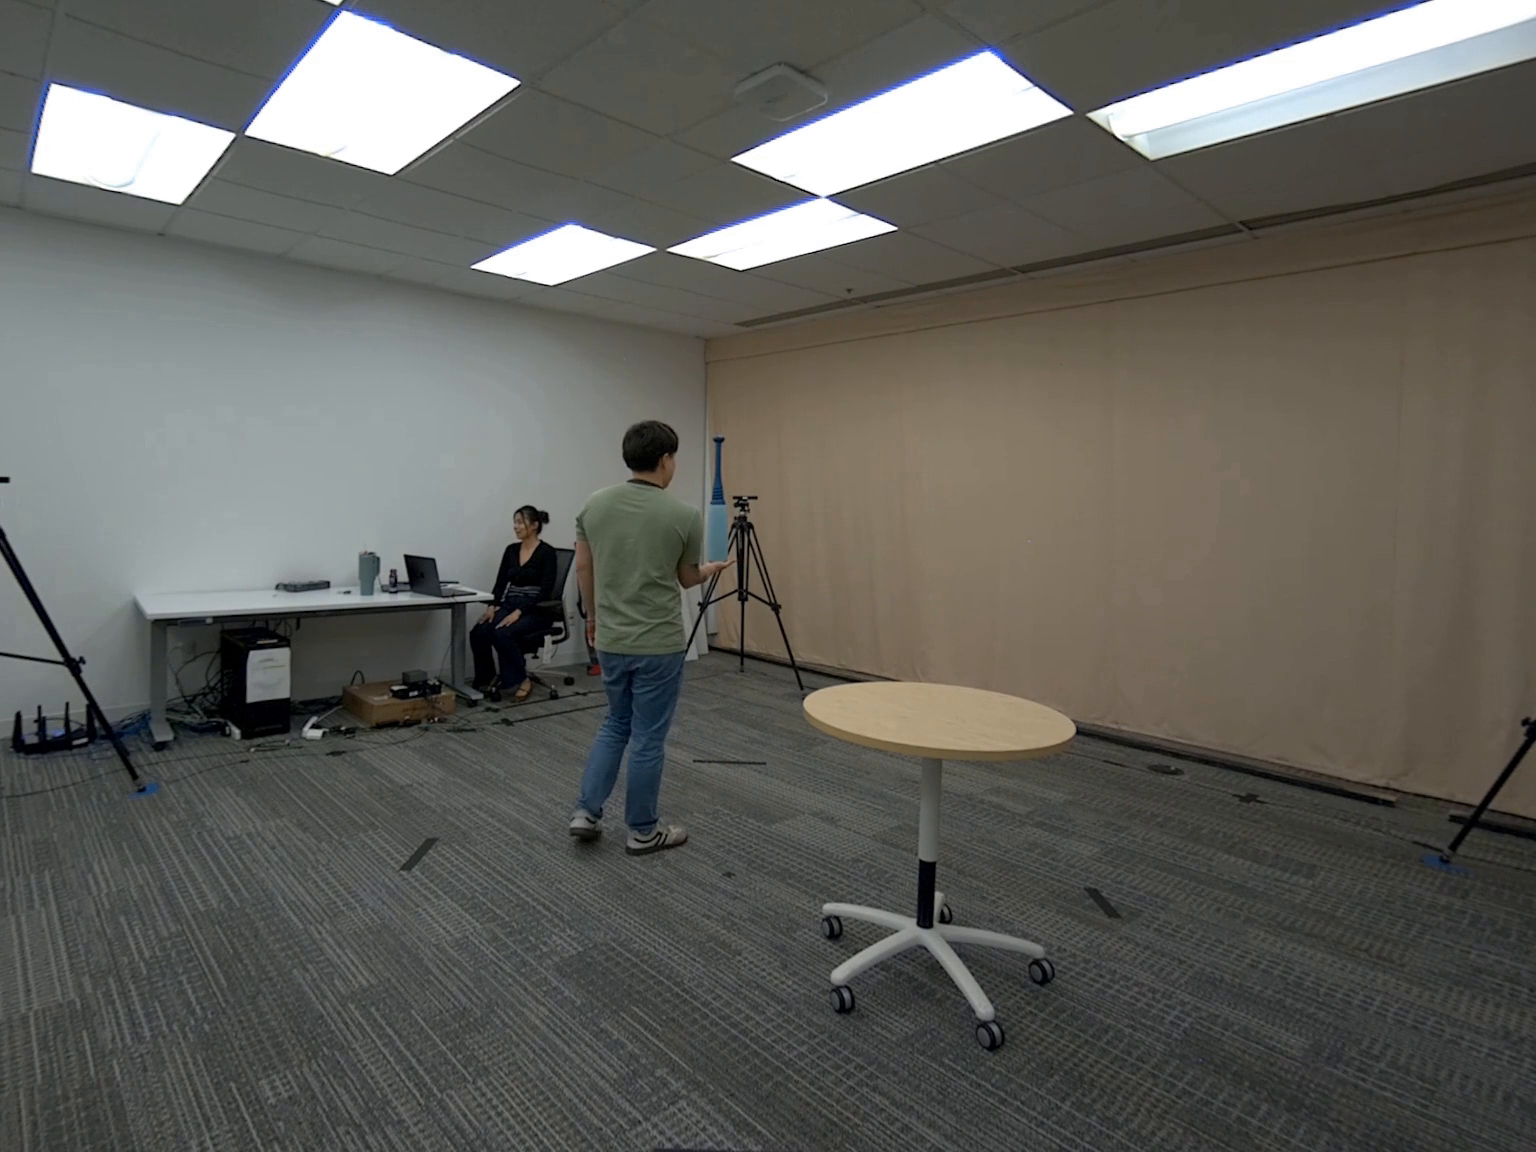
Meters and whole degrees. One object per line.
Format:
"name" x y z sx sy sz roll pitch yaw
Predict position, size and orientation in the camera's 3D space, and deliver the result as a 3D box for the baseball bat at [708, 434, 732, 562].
"baseball bat" -0.205 -0.323 3.590 0.089 0.542 0.089 1 1 -1
